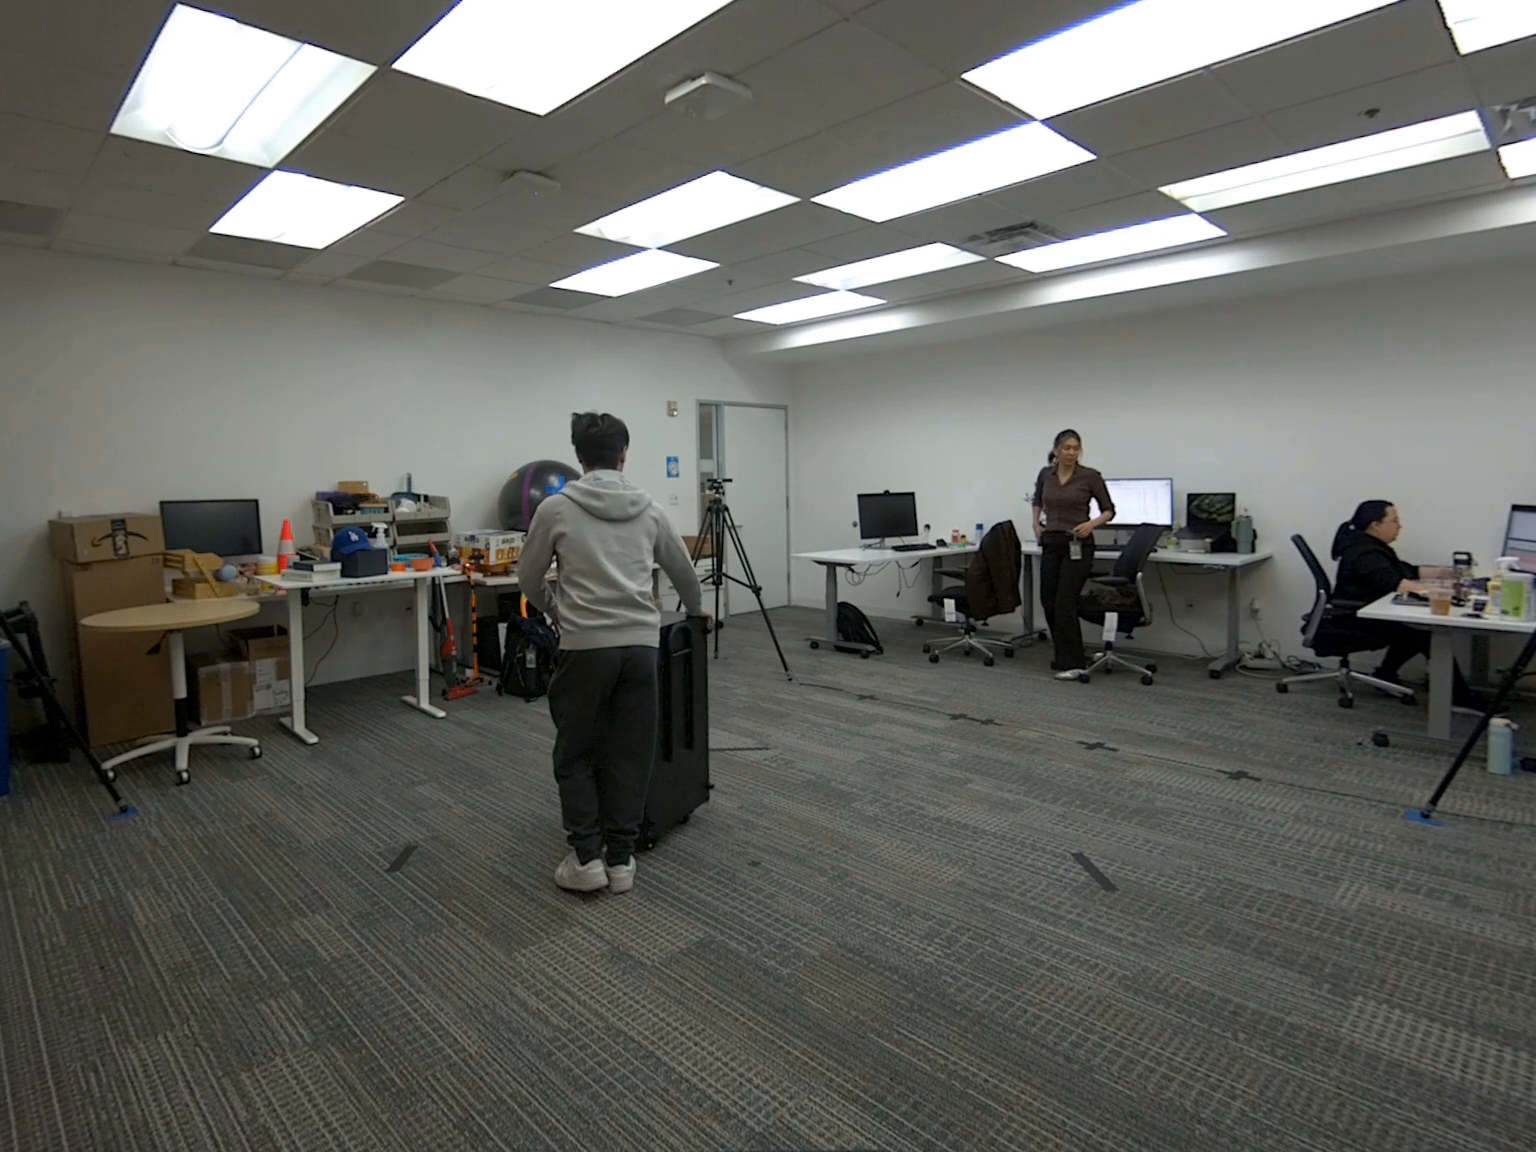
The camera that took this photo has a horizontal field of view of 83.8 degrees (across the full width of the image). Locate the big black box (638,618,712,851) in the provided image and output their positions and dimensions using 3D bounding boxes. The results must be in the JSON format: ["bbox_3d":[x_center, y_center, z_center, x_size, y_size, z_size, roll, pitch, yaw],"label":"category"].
[{"bbox_3d":[-0.489,0.596,3.411,0.406,0.859,0.510,3,4,26],"label":"big black box"}]
